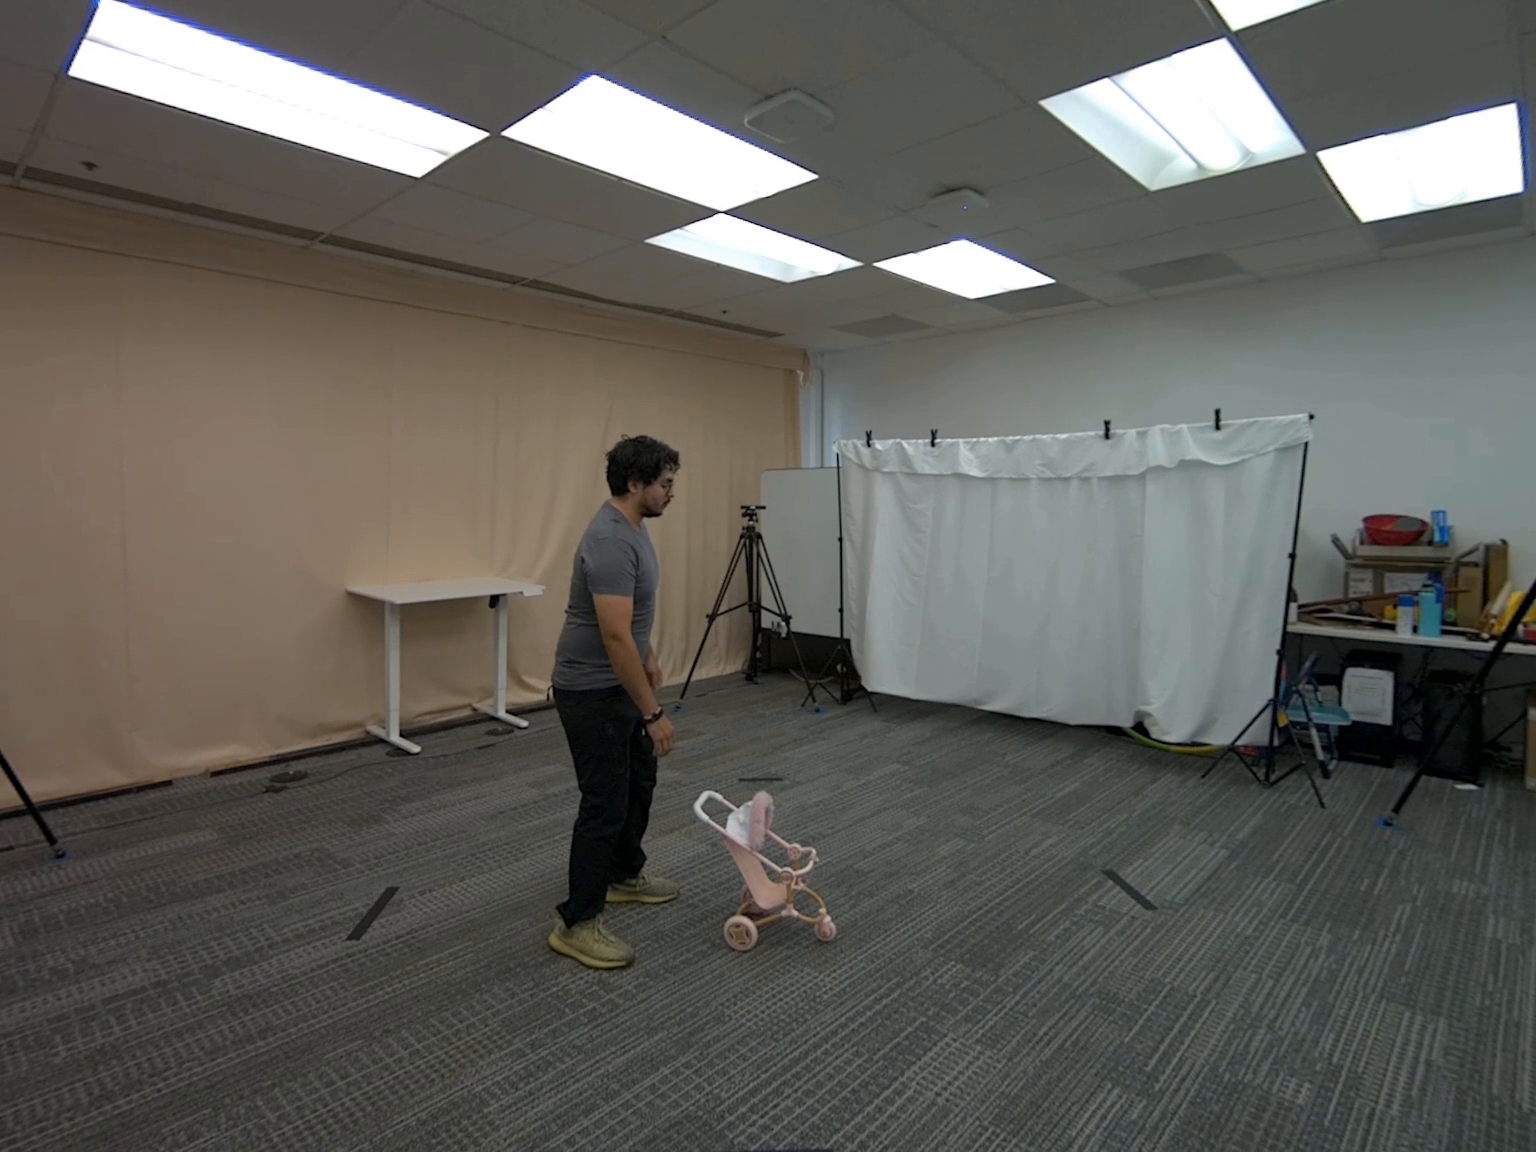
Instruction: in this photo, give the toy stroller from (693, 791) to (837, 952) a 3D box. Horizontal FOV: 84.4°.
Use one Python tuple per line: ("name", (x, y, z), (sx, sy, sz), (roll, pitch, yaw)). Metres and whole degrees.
("toy stroller", (0.007, 0.948, 2.726), (0.347, 0.536, 0.277), (-15, -2, 18))
